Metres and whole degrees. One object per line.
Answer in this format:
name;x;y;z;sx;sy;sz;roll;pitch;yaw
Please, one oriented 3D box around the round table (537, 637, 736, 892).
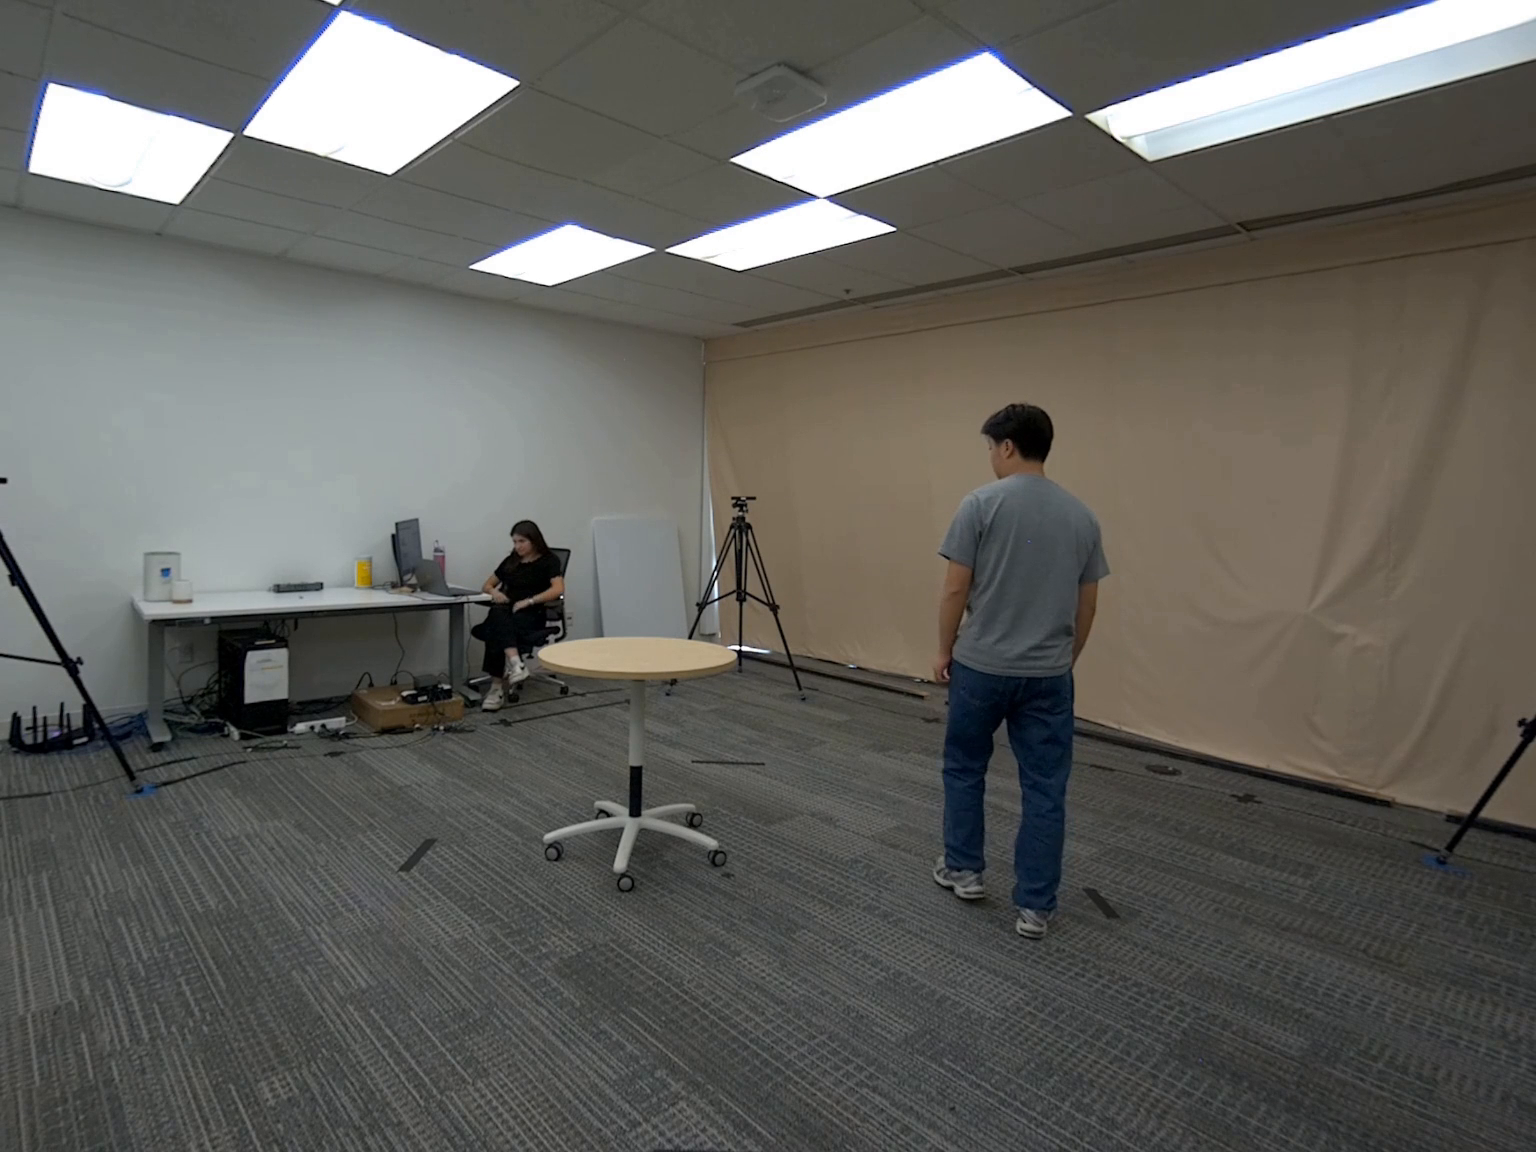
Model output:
round table;-0.520;0.691;3.287;0.763;0.792;0.766;1;3;-1
